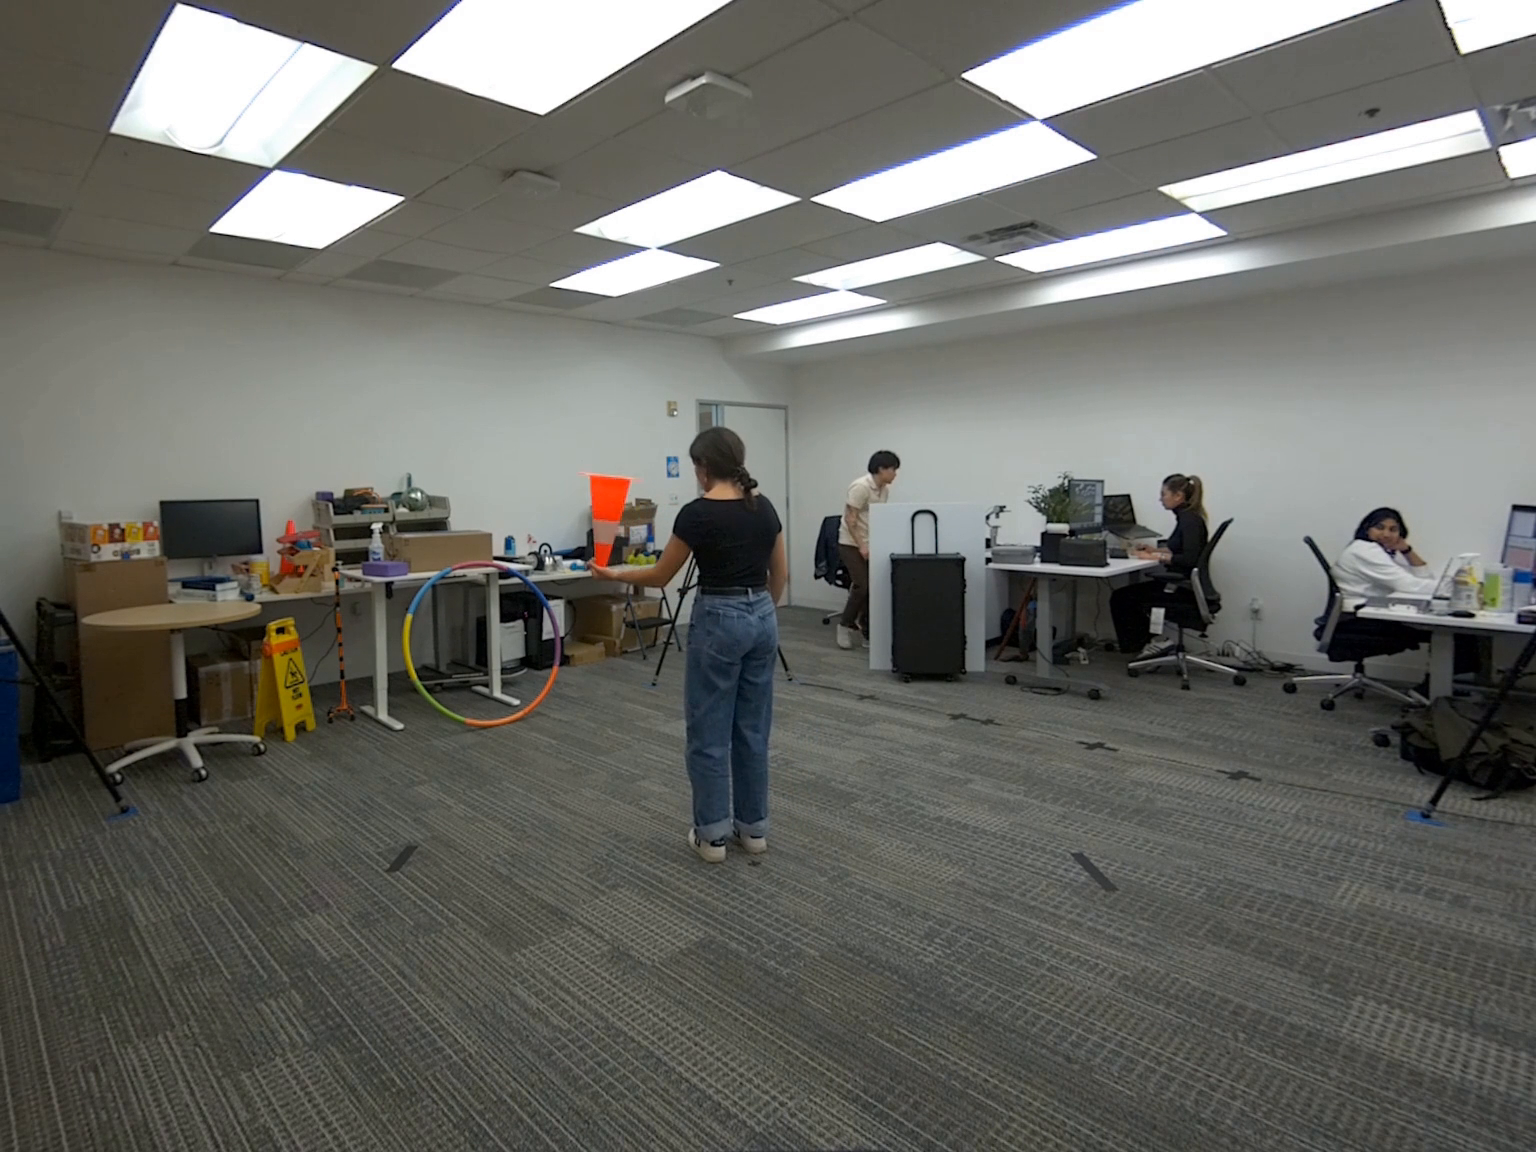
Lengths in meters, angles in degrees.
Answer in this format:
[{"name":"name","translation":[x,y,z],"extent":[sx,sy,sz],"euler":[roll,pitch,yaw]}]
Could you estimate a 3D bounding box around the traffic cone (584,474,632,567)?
[{"name":"traffic cone","translation":[-0.619,-0.190,3.322],"extent":[0.208,0.381,0.201],"euler":[11,9,20]}]
